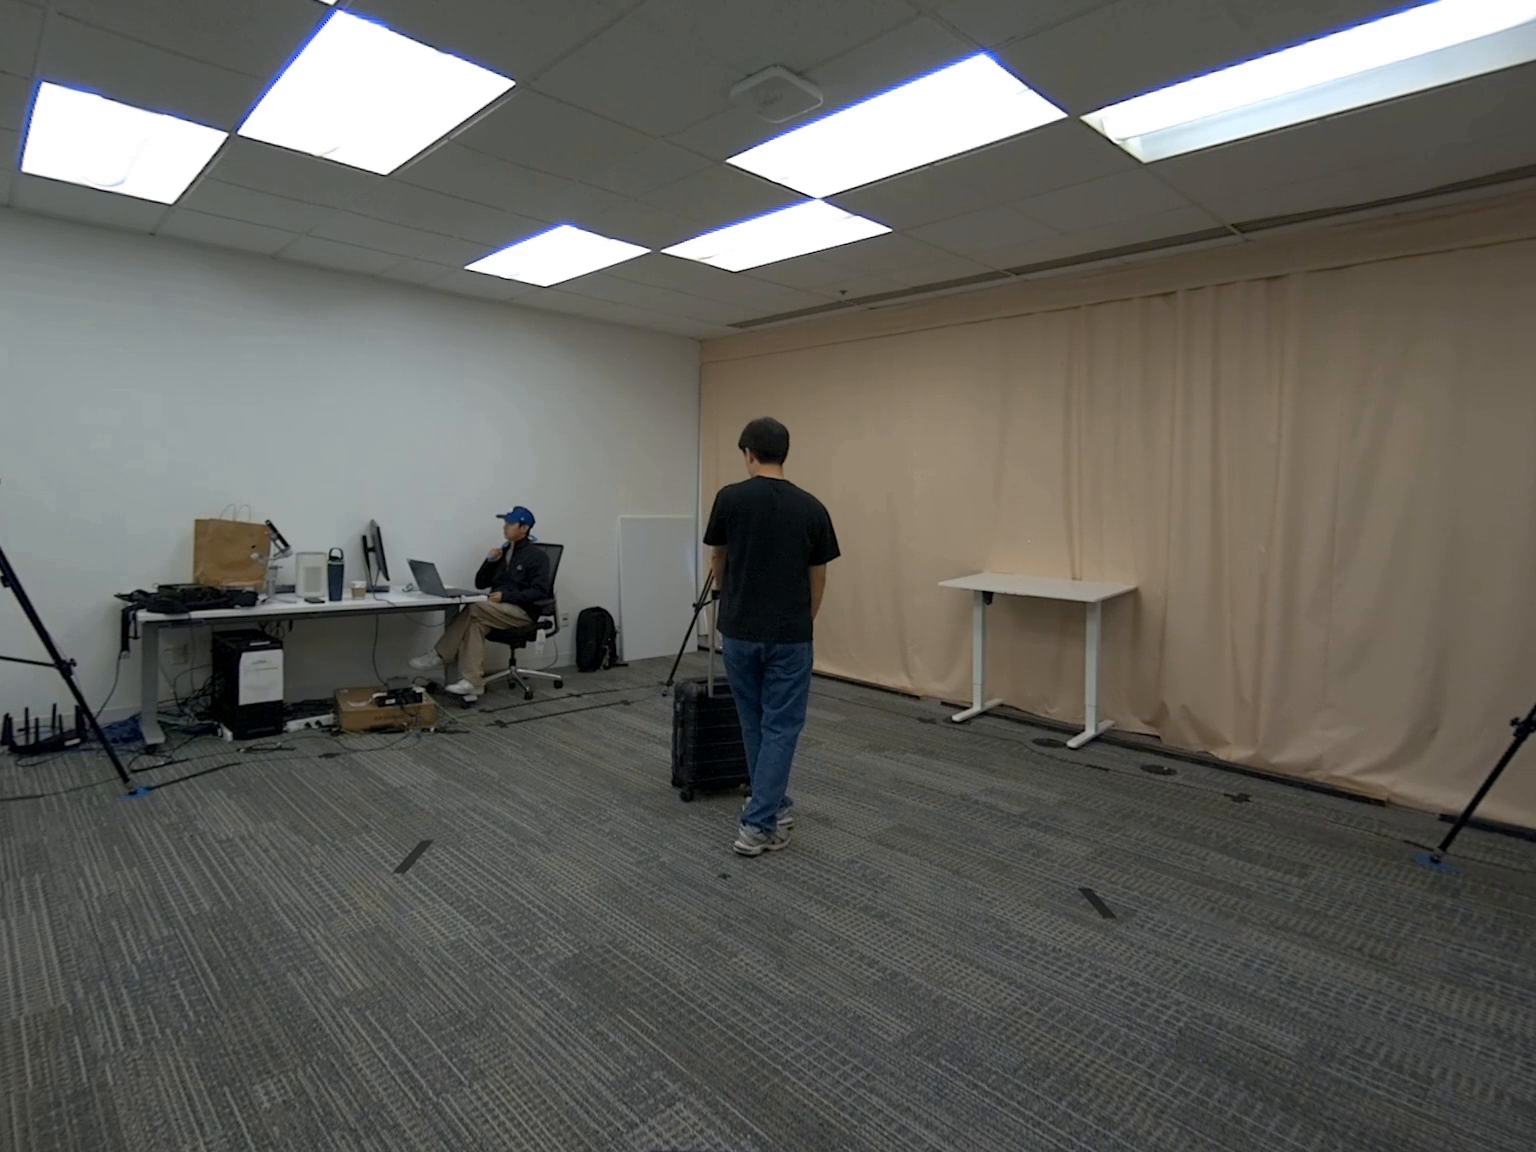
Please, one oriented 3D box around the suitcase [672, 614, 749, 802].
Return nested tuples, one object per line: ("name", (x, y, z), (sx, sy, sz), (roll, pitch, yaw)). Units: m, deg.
("suitcase", (-0.274, 0.548, 4.001), (0.378, 0.978, 0.261), (0, 1, -22))
